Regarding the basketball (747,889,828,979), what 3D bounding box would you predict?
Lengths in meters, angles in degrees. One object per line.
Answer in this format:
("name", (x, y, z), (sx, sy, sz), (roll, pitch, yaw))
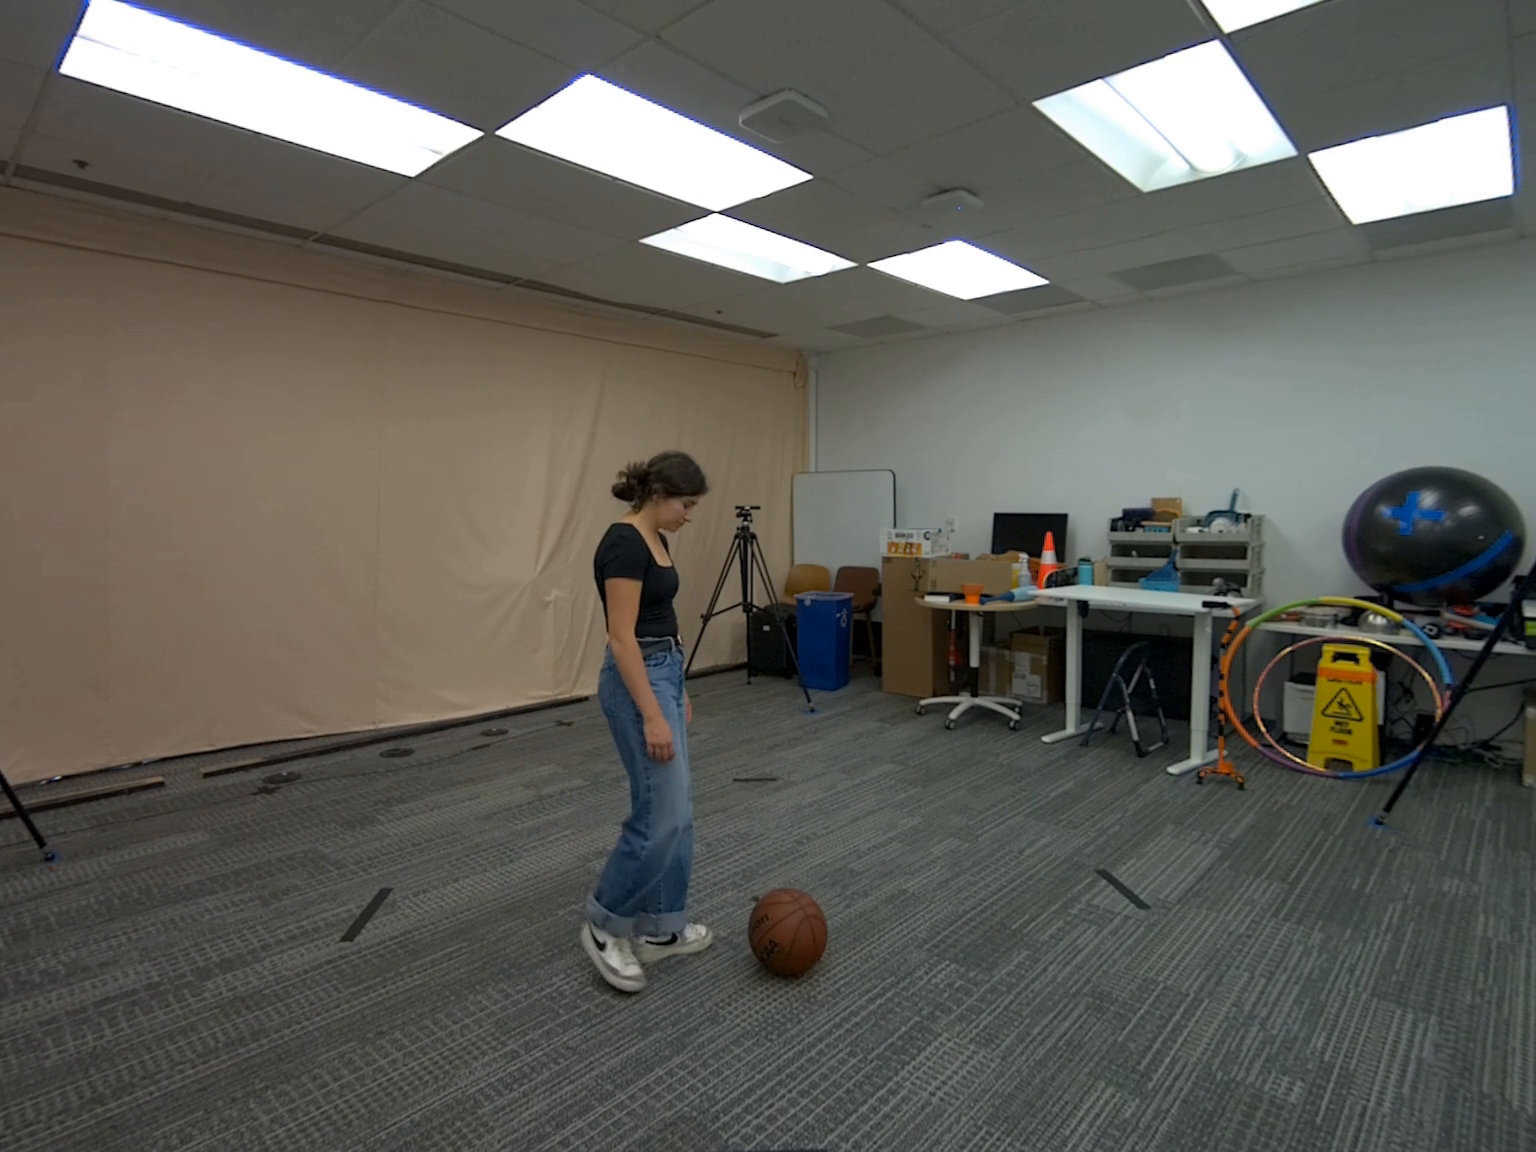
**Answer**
("basketball", (0.061, 1.064, 2.513), (0.236, 0.235, 0.237), (0, 4, -2))
